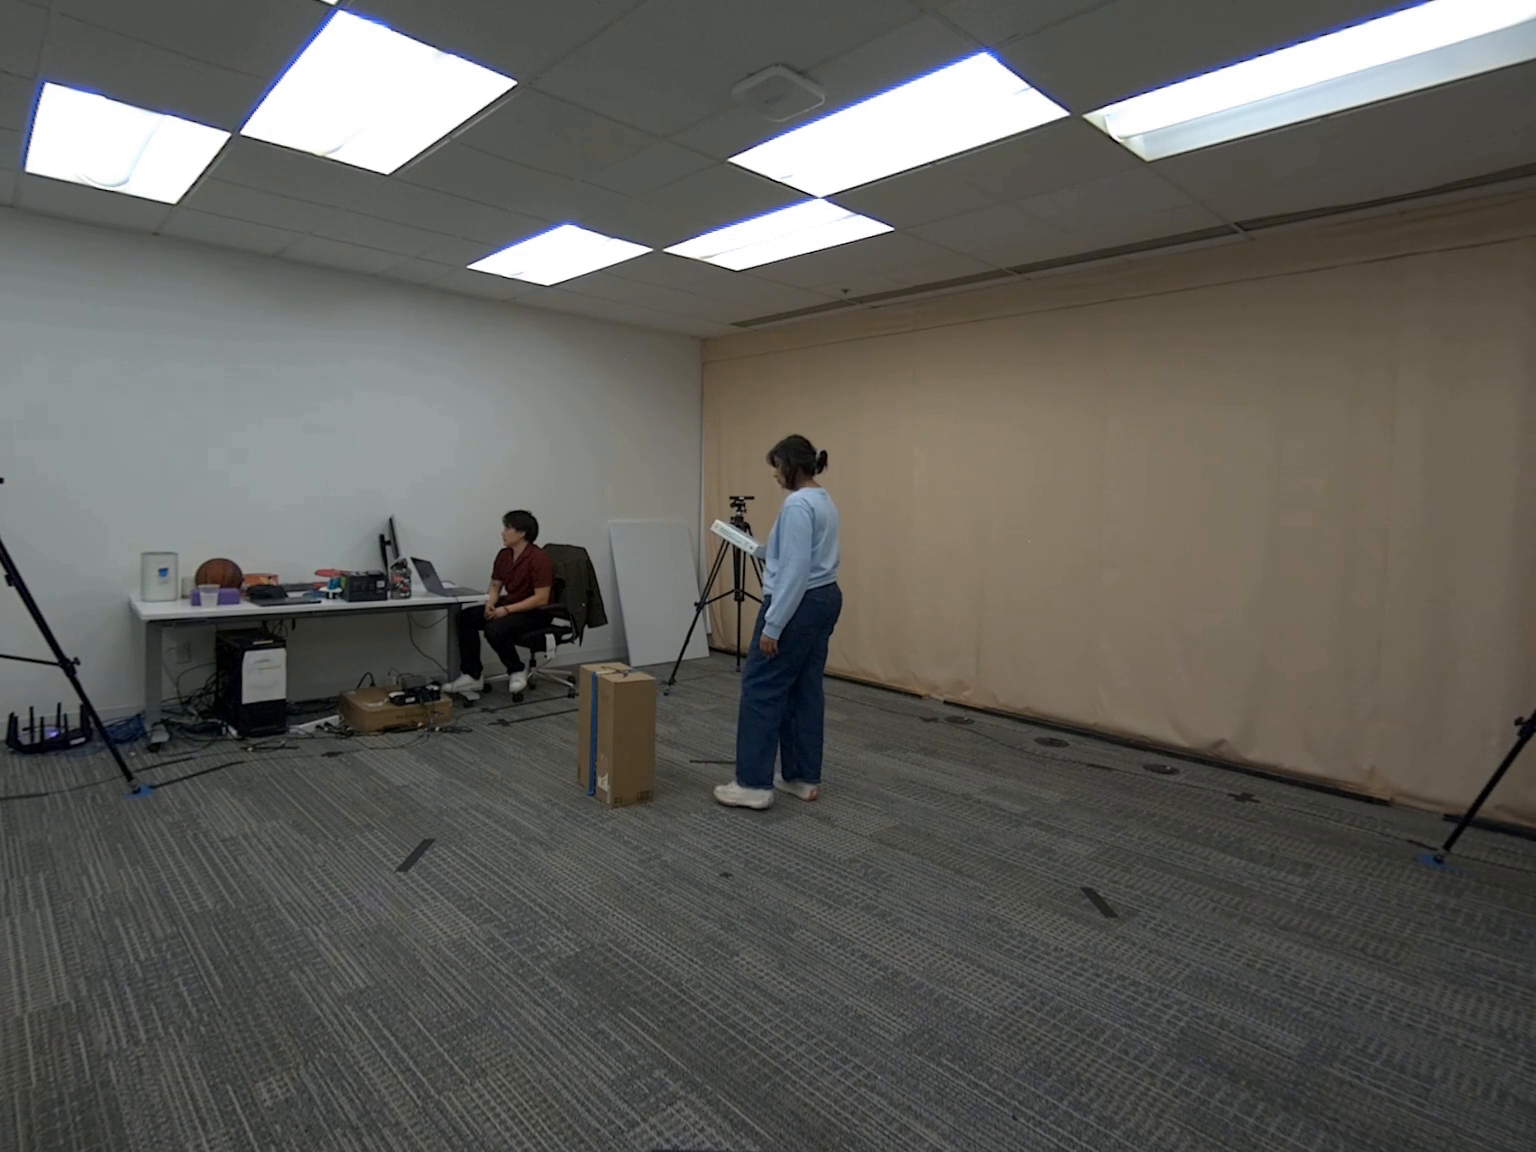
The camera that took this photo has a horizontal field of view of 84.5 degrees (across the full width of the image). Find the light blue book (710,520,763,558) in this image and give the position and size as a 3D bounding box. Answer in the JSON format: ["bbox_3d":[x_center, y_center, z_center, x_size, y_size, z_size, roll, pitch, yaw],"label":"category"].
[{"bbox_3d":[-0.131,-0.175,4.069,0.267,0.059,0.187,30,6,23],"label":"light blue book"}]
